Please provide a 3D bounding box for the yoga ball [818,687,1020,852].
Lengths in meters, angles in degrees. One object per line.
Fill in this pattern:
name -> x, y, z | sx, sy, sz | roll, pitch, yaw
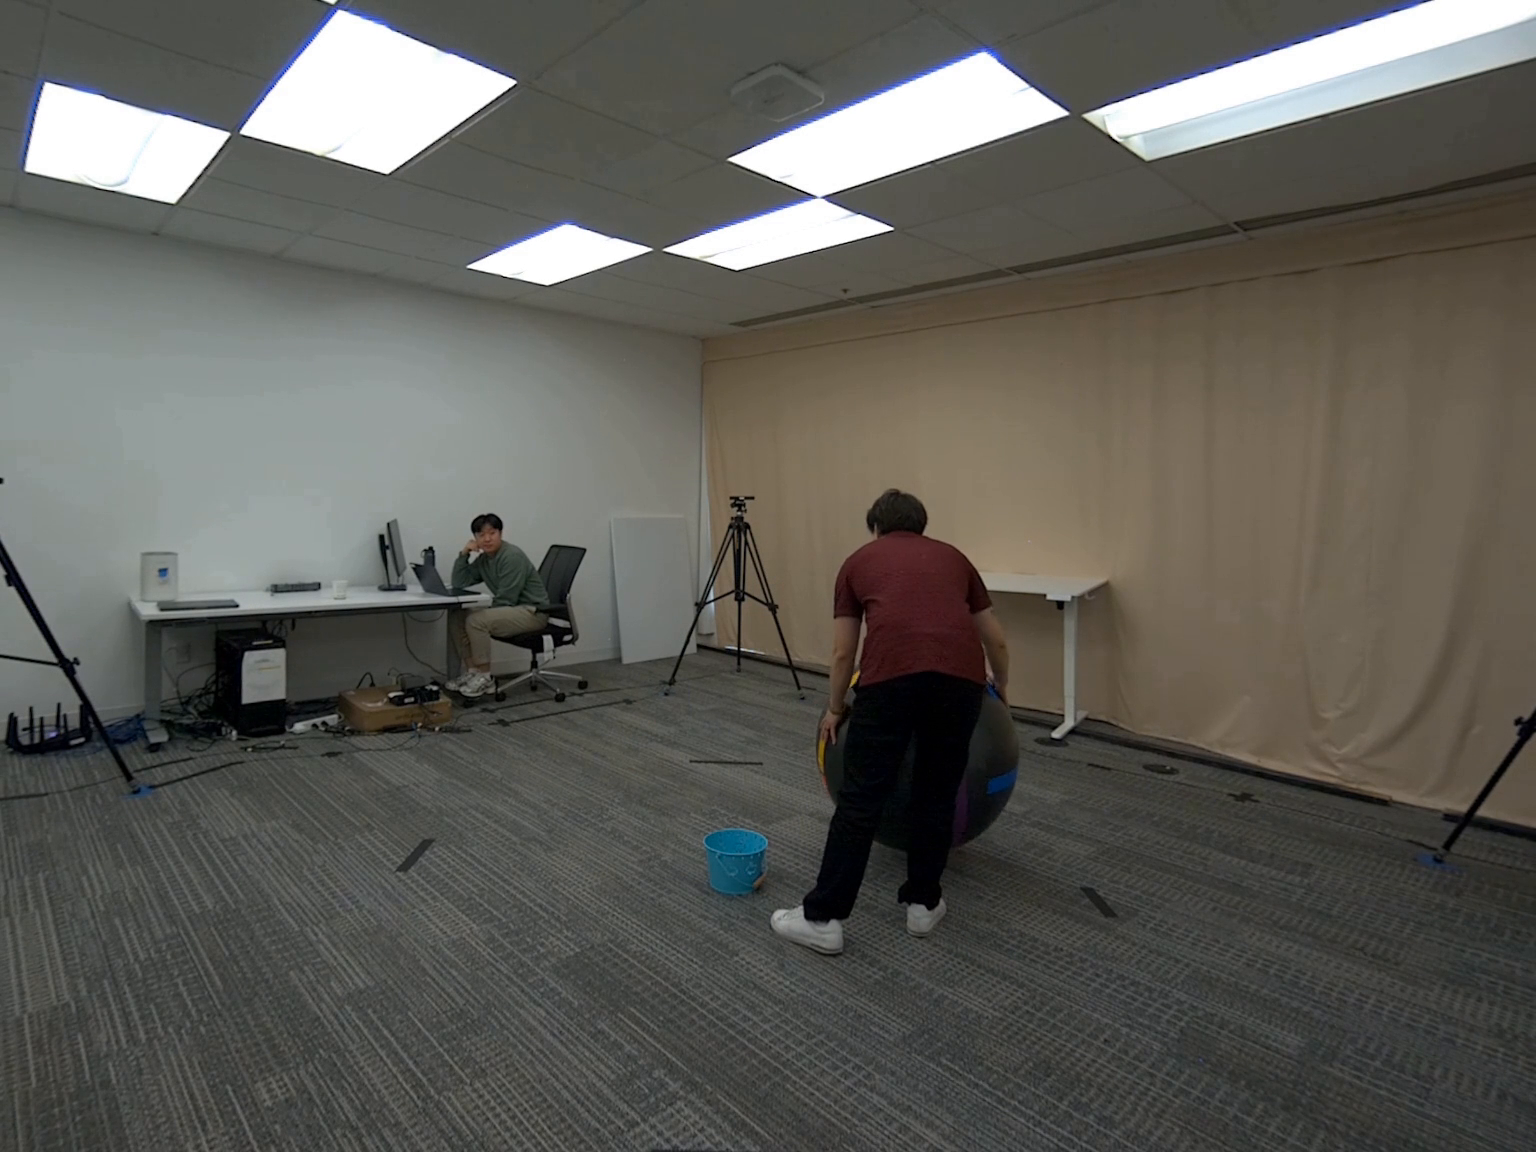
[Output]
yoga ball -> 0.561, 0.664, 3.233 | 0.757, 0.756, 0.761 | 1, 4, -1
